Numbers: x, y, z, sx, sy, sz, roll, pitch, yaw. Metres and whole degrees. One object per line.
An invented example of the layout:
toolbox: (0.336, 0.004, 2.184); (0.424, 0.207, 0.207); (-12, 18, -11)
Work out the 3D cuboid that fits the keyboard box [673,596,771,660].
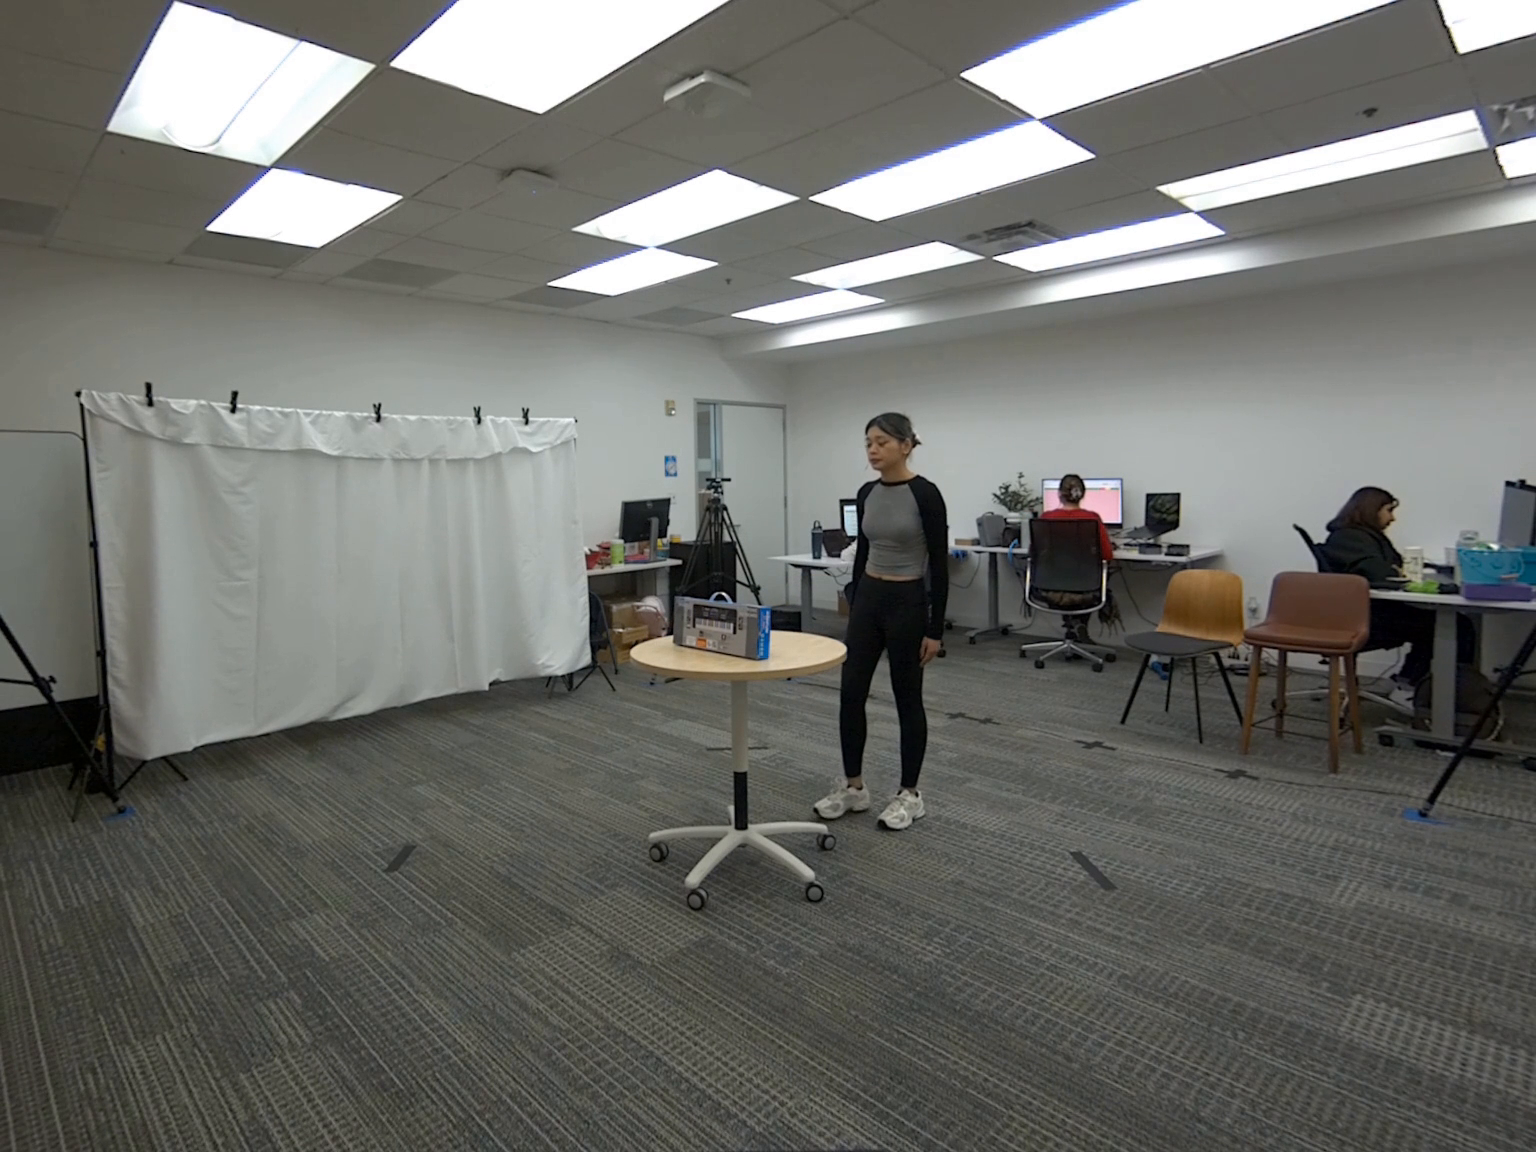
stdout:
keyboard box: (-0.167, 0.178, 2.987); (0.057, 0.176, 0.450); (3, 1, -44)
